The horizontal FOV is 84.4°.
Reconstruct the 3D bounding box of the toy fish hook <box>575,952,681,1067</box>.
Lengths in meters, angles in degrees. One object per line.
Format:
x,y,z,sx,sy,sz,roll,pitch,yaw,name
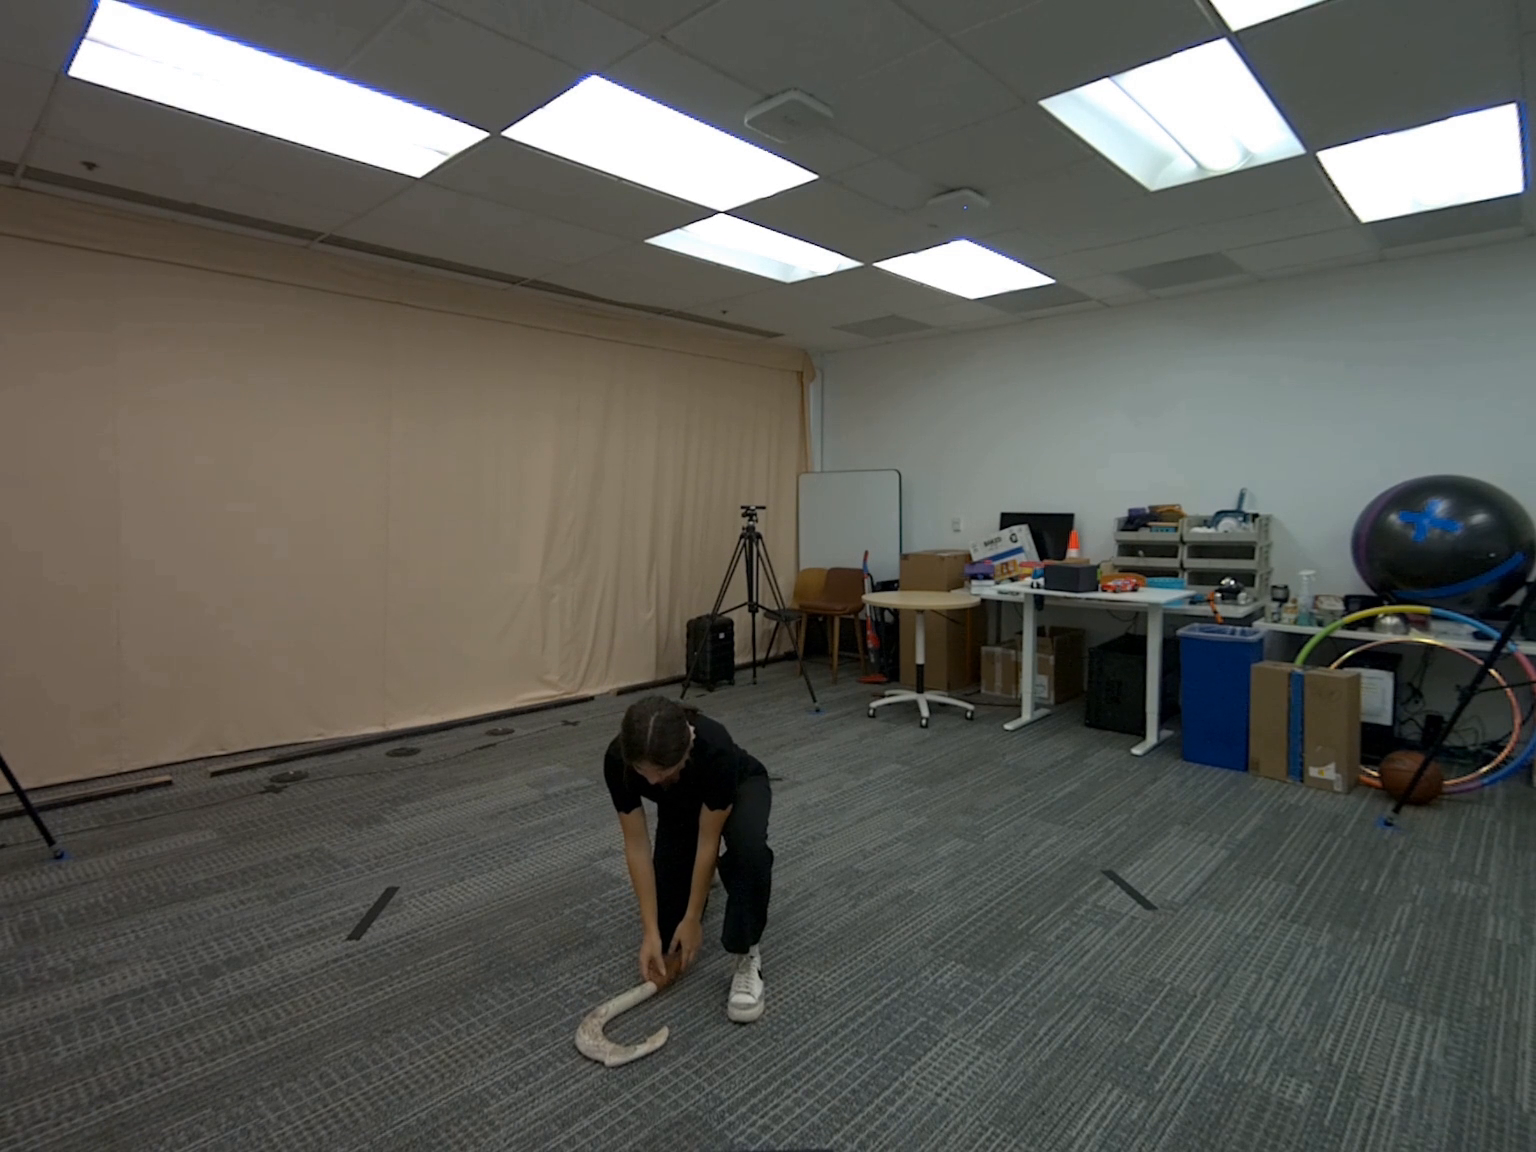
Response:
-0.308,1.172,2.320,0.231,0.048,0.494,10,12,29,toy fish hook
